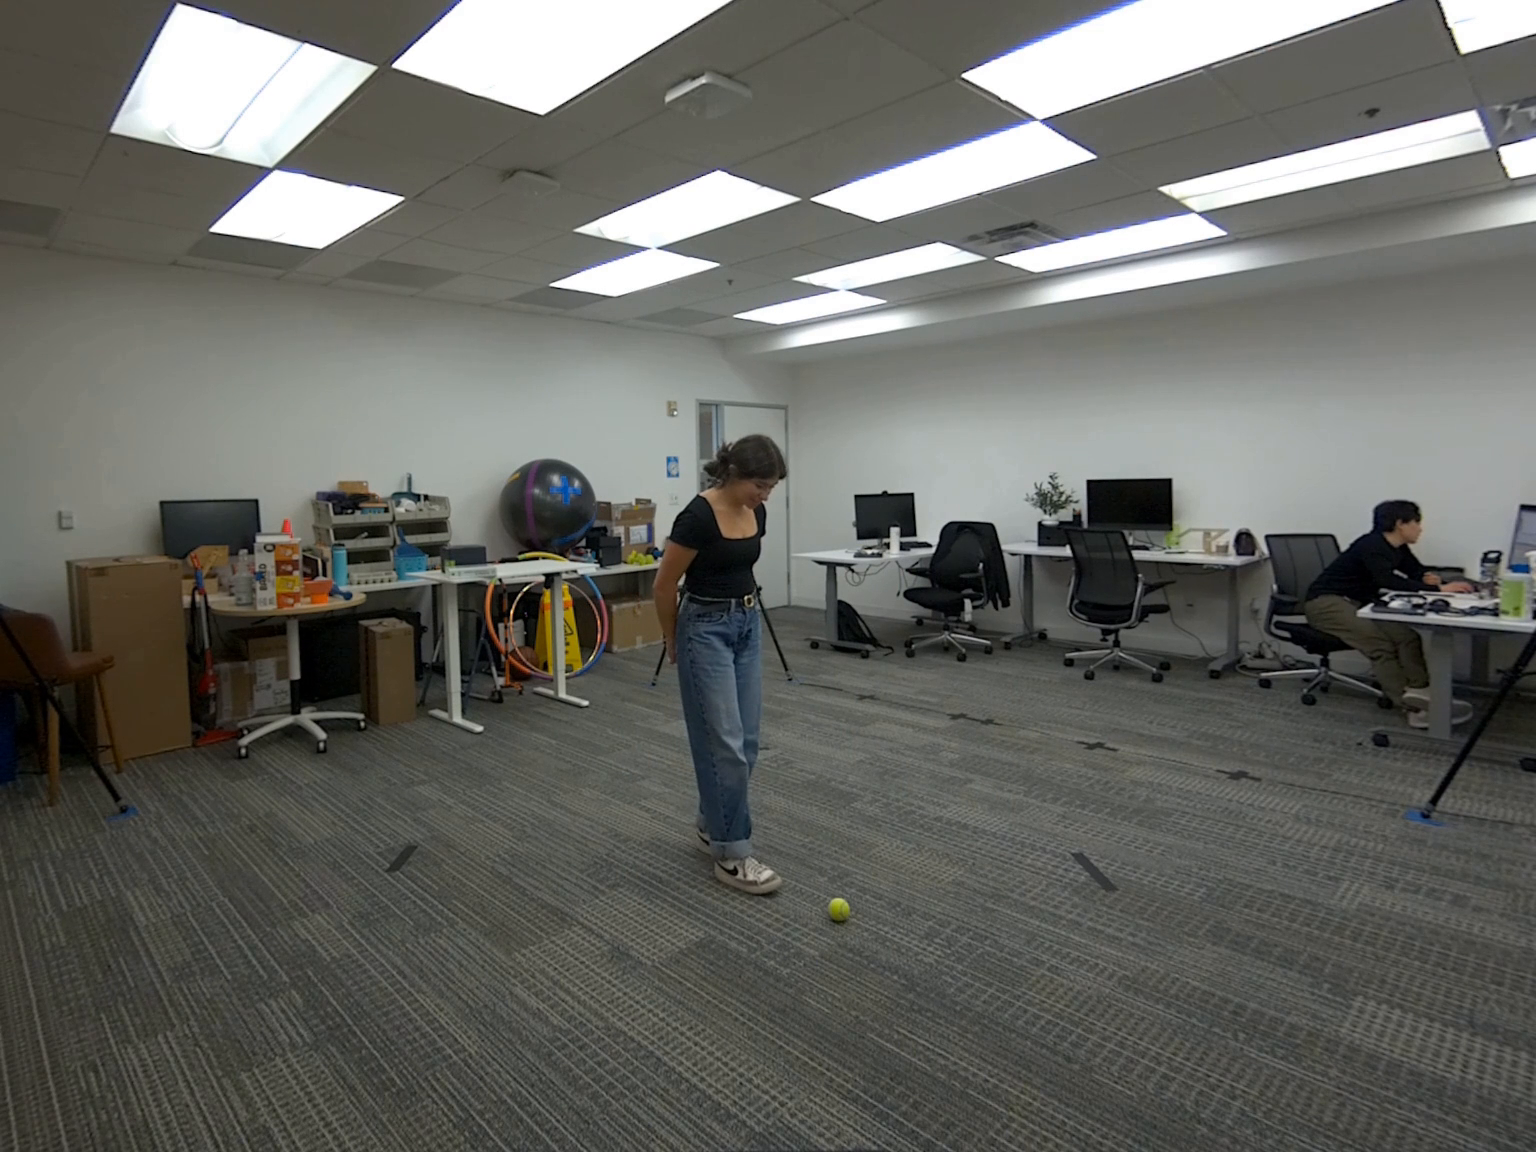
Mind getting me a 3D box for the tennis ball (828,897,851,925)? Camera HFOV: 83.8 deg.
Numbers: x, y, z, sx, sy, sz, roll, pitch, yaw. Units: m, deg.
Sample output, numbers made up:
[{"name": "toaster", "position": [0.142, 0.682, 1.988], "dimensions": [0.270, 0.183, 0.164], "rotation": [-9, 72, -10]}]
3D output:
[{"name": "tennis ball", "position": [0.234, 1.036, 2.695], "dimensions": [0.066, 0.066, 0.067], "rotation": [-1, 5, -2]}]
